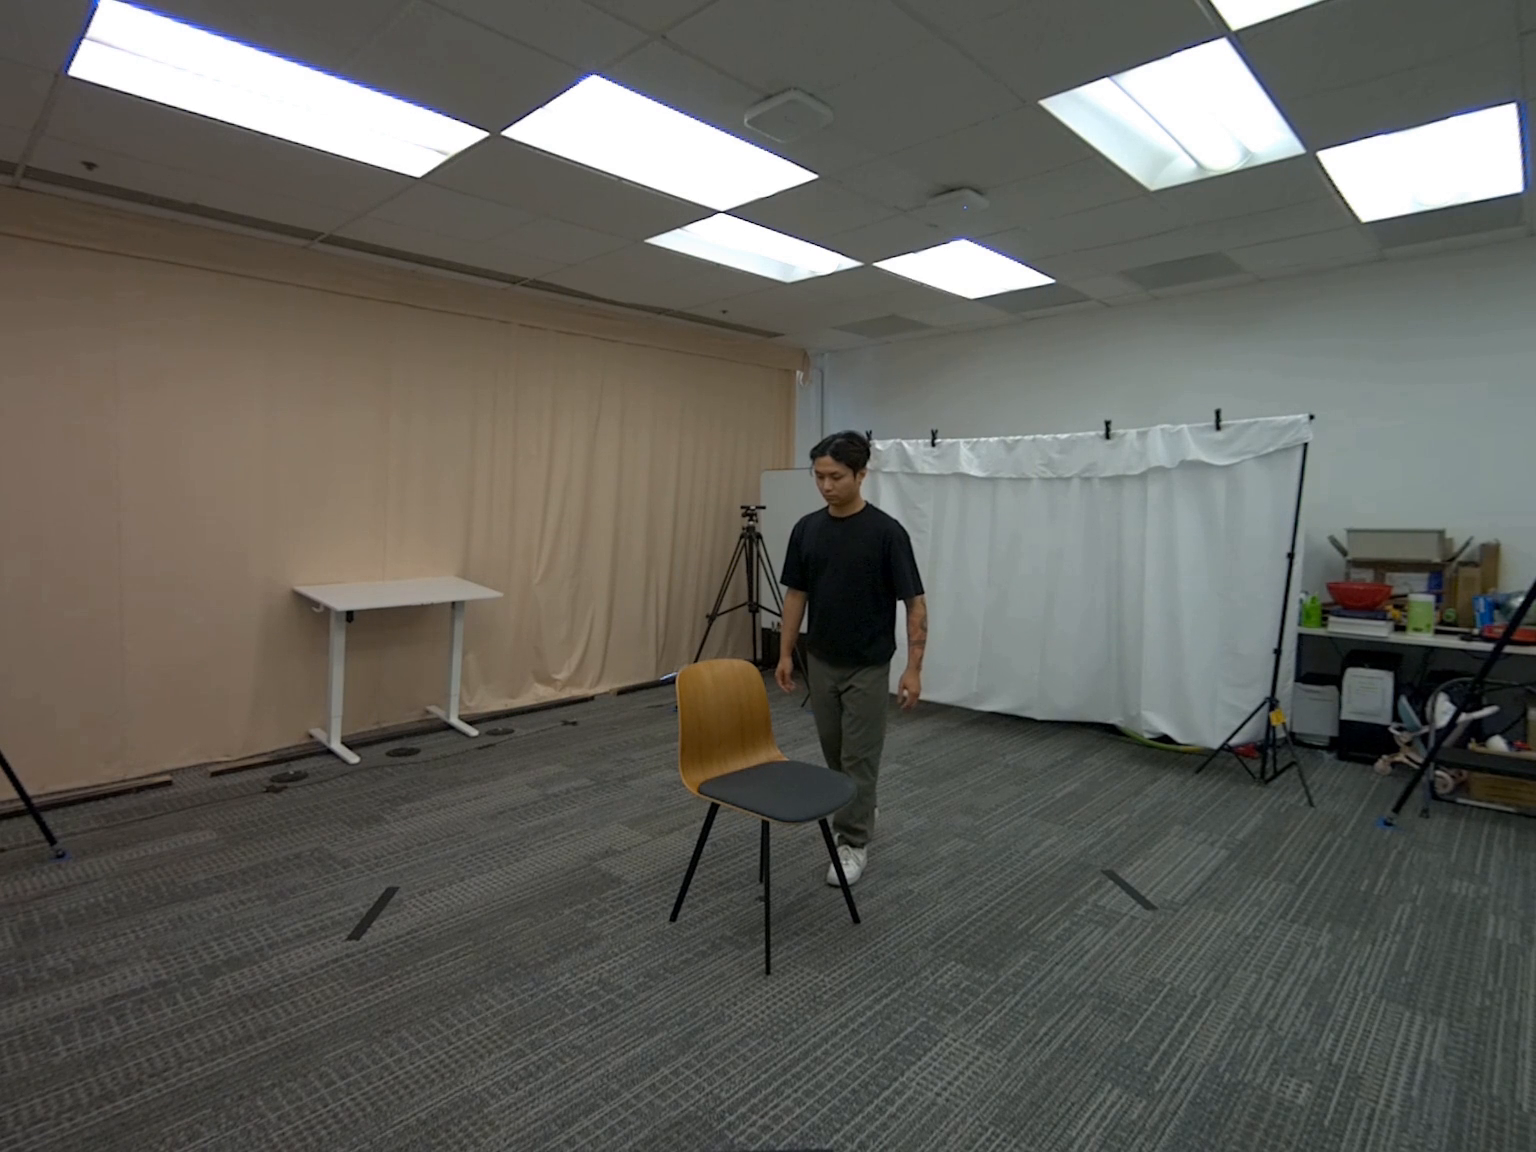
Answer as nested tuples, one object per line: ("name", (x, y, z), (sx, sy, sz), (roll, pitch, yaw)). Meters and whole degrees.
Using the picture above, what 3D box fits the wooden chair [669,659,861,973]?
("wooden chair", (-0.007, 0.734, 2.774), (0.463, 0.877, 0.539), (-3, 0, -45))
